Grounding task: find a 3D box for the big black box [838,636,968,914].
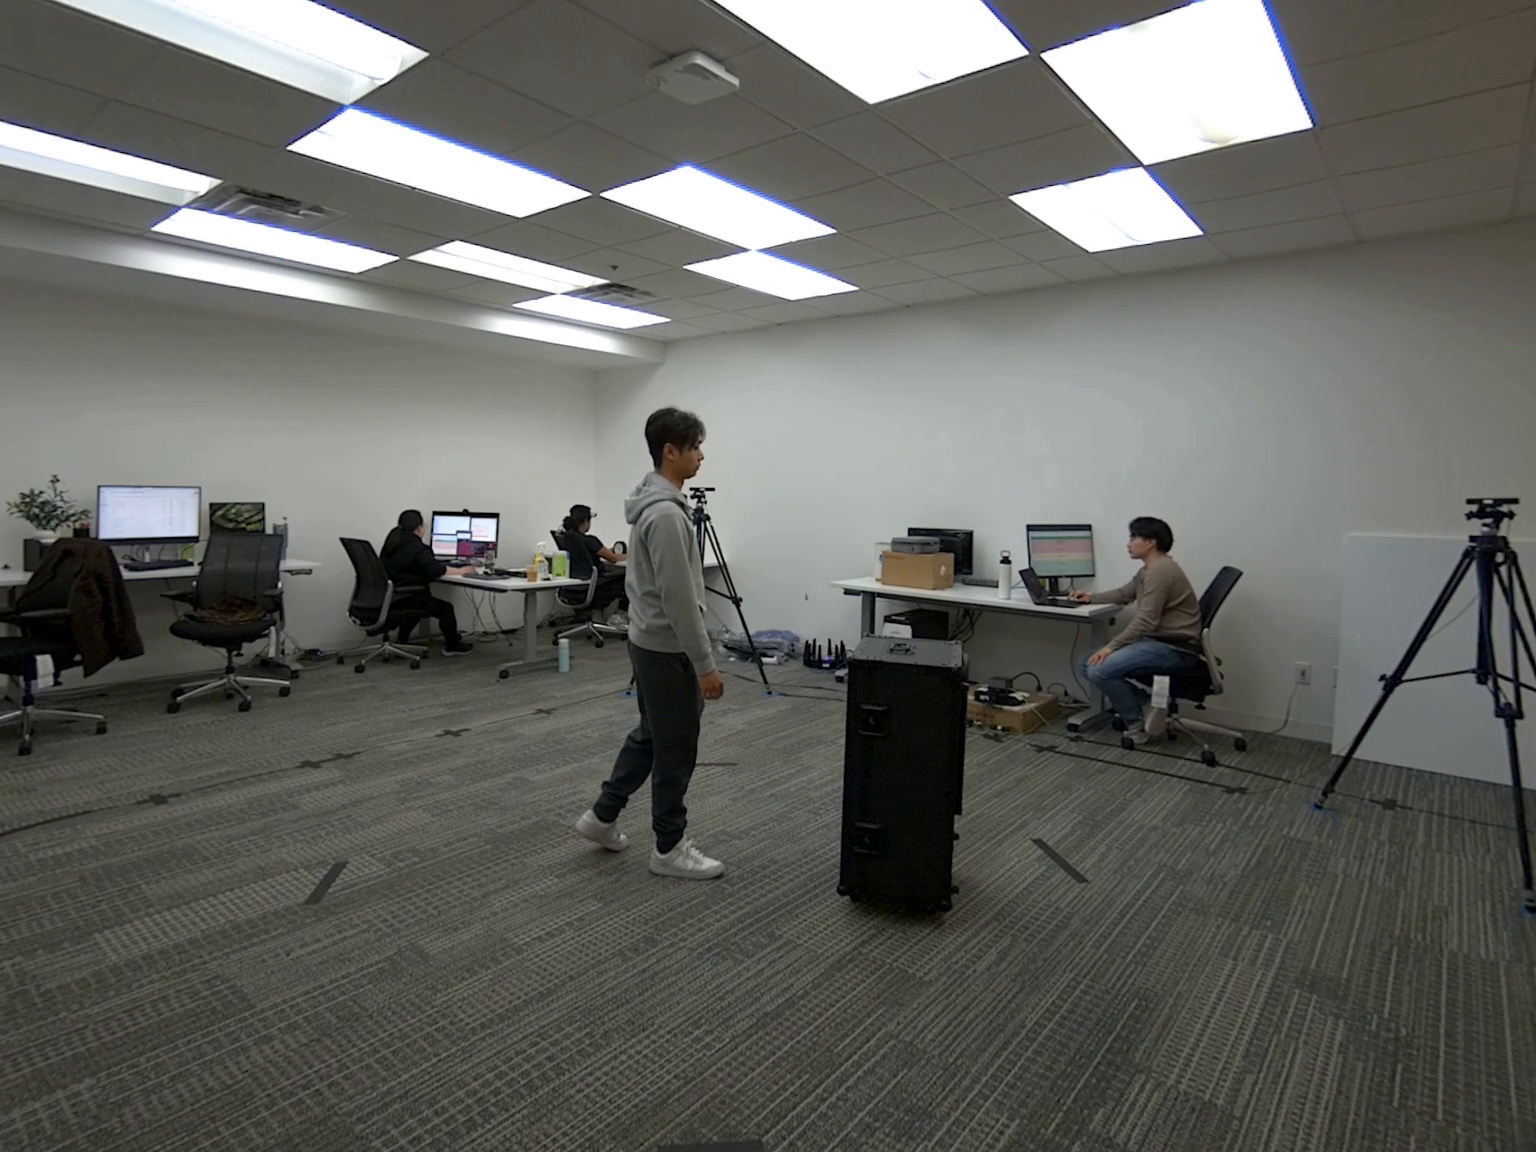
[{"bbox_3d":[0.475,0.672,2.938,0.403,0.858,0.514,3,4,14],"label":"big black box"}]
